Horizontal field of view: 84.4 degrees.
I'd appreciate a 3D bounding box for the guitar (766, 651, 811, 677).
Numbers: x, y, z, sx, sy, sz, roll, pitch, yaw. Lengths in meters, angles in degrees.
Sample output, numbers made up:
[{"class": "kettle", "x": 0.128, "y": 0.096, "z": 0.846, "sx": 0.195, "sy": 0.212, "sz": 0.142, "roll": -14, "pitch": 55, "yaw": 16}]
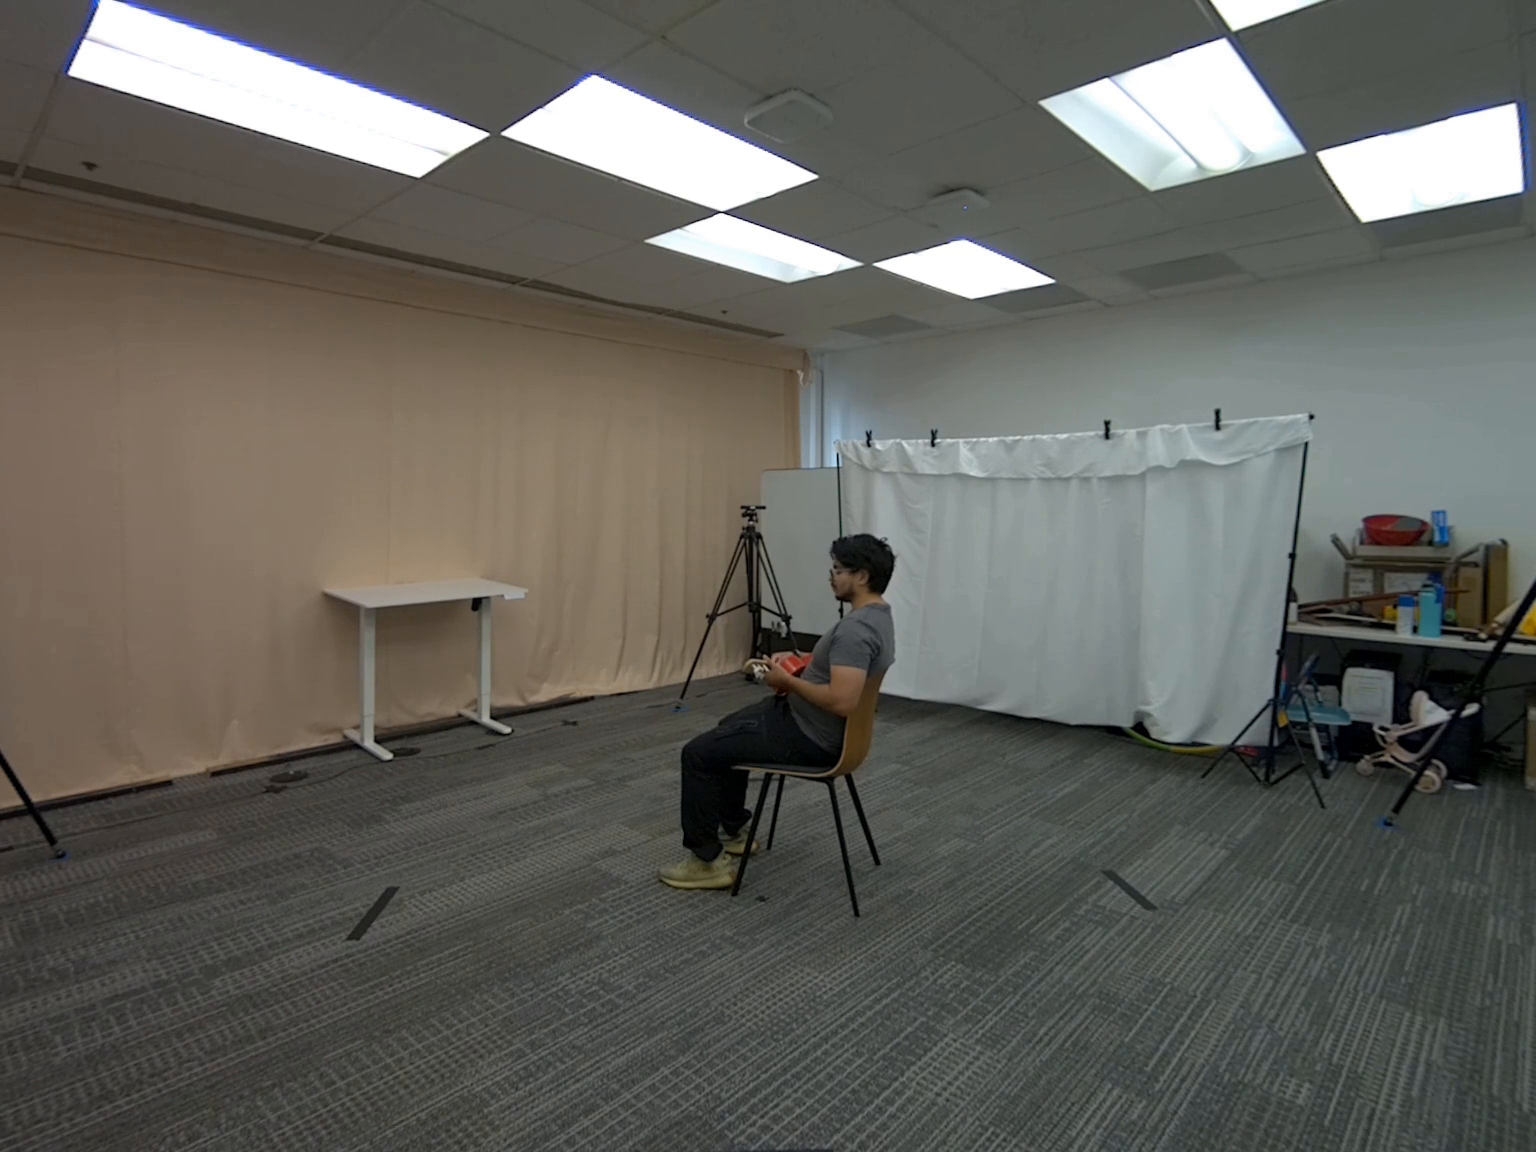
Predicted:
[{"class": "guitar", "x": 0.035, "y": 0.375, "z": 3.082, "sx": 0.073, "sy": 0.193, "sz": 0.482, "roll": 50, "pitch": 24, "yaw": 25}]
